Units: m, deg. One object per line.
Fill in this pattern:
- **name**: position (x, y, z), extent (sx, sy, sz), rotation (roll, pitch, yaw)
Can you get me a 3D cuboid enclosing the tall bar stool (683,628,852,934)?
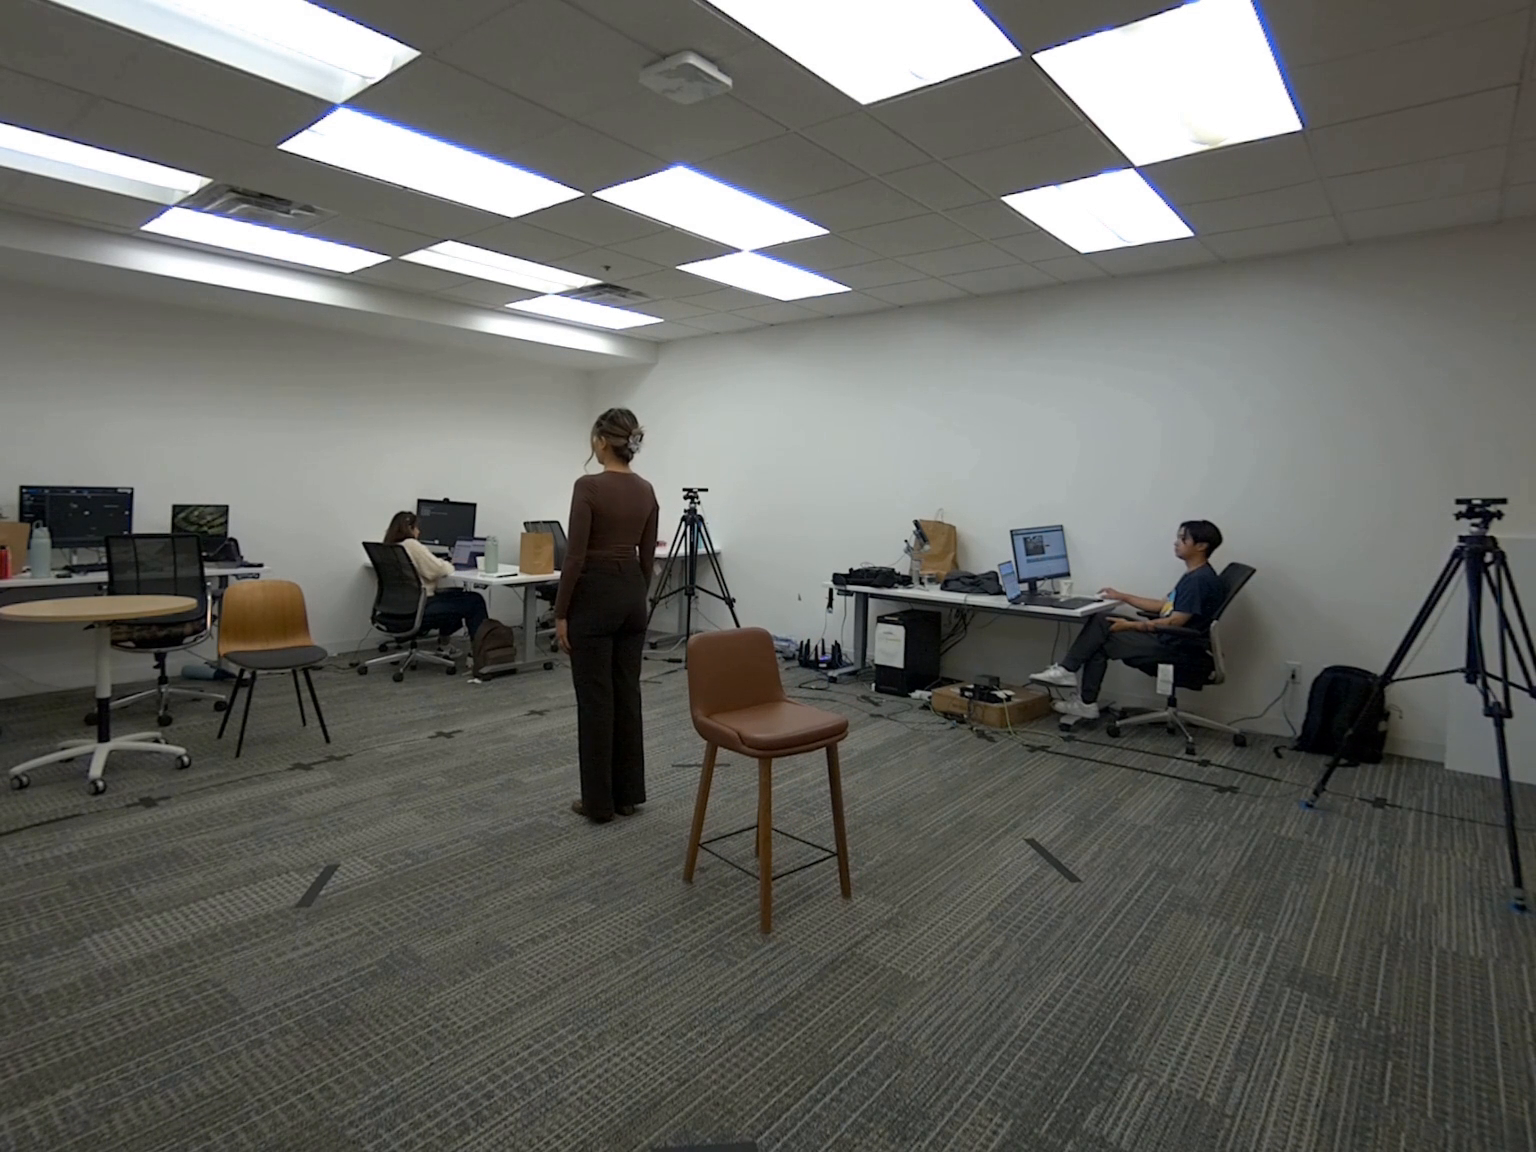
- **tall bar stool**: position (-0.014, 0.653, 2.943), extent (0.442, 0.889, 0.483), rotation (-1, 2, -42)
